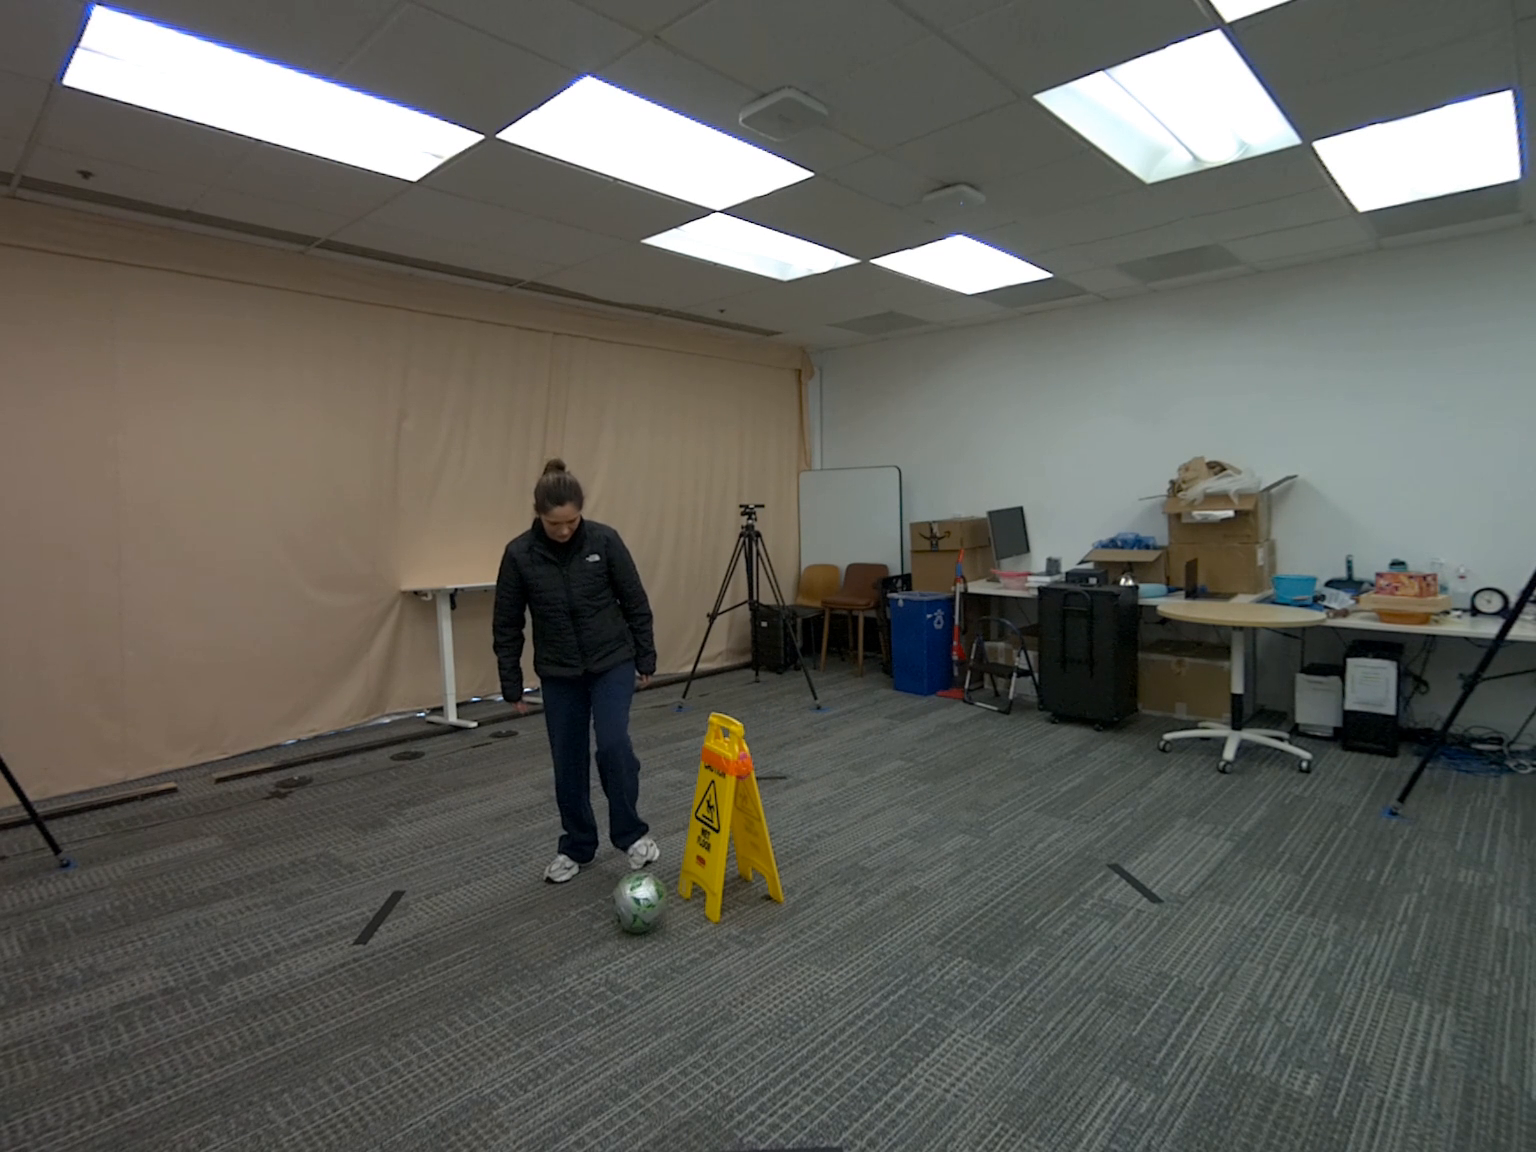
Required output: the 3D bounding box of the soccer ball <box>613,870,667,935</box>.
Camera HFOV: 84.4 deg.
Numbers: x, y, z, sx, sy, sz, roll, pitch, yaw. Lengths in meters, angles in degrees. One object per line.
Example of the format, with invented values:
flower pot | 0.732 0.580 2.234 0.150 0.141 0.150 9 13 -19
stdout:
soccer ball | -0.421 1.070 2.769 0.187 0.187 0.188 -1 4 -2
